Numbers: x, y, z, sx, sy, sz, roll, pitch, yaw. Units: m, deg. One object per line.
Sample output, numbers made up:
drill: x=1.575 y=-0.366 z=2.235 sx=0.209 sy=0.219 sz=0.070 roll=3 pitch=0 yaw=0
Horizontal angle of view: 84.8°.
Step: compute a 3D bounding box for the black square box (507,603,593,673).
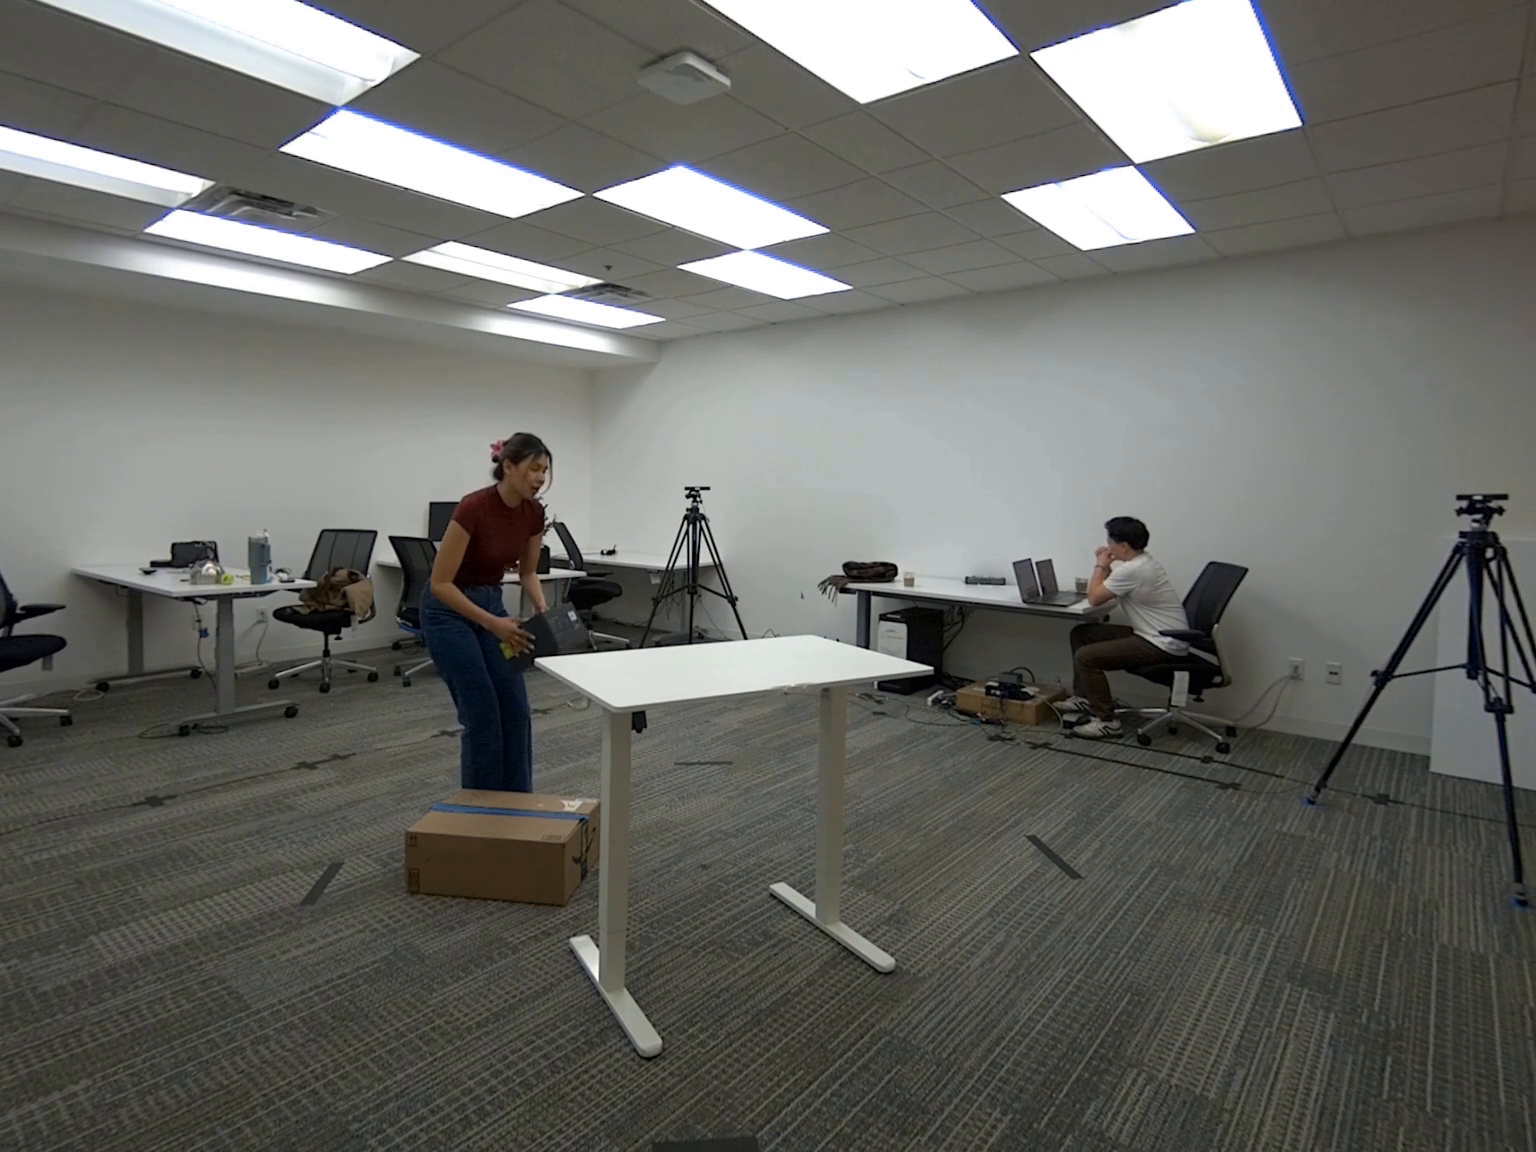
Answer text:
black square box: x=-0.858 y=0.235 z=3.182 sx=0.230 sy=0.157 sz=0.214 roll=-29 pitch=-2 yaw=20
